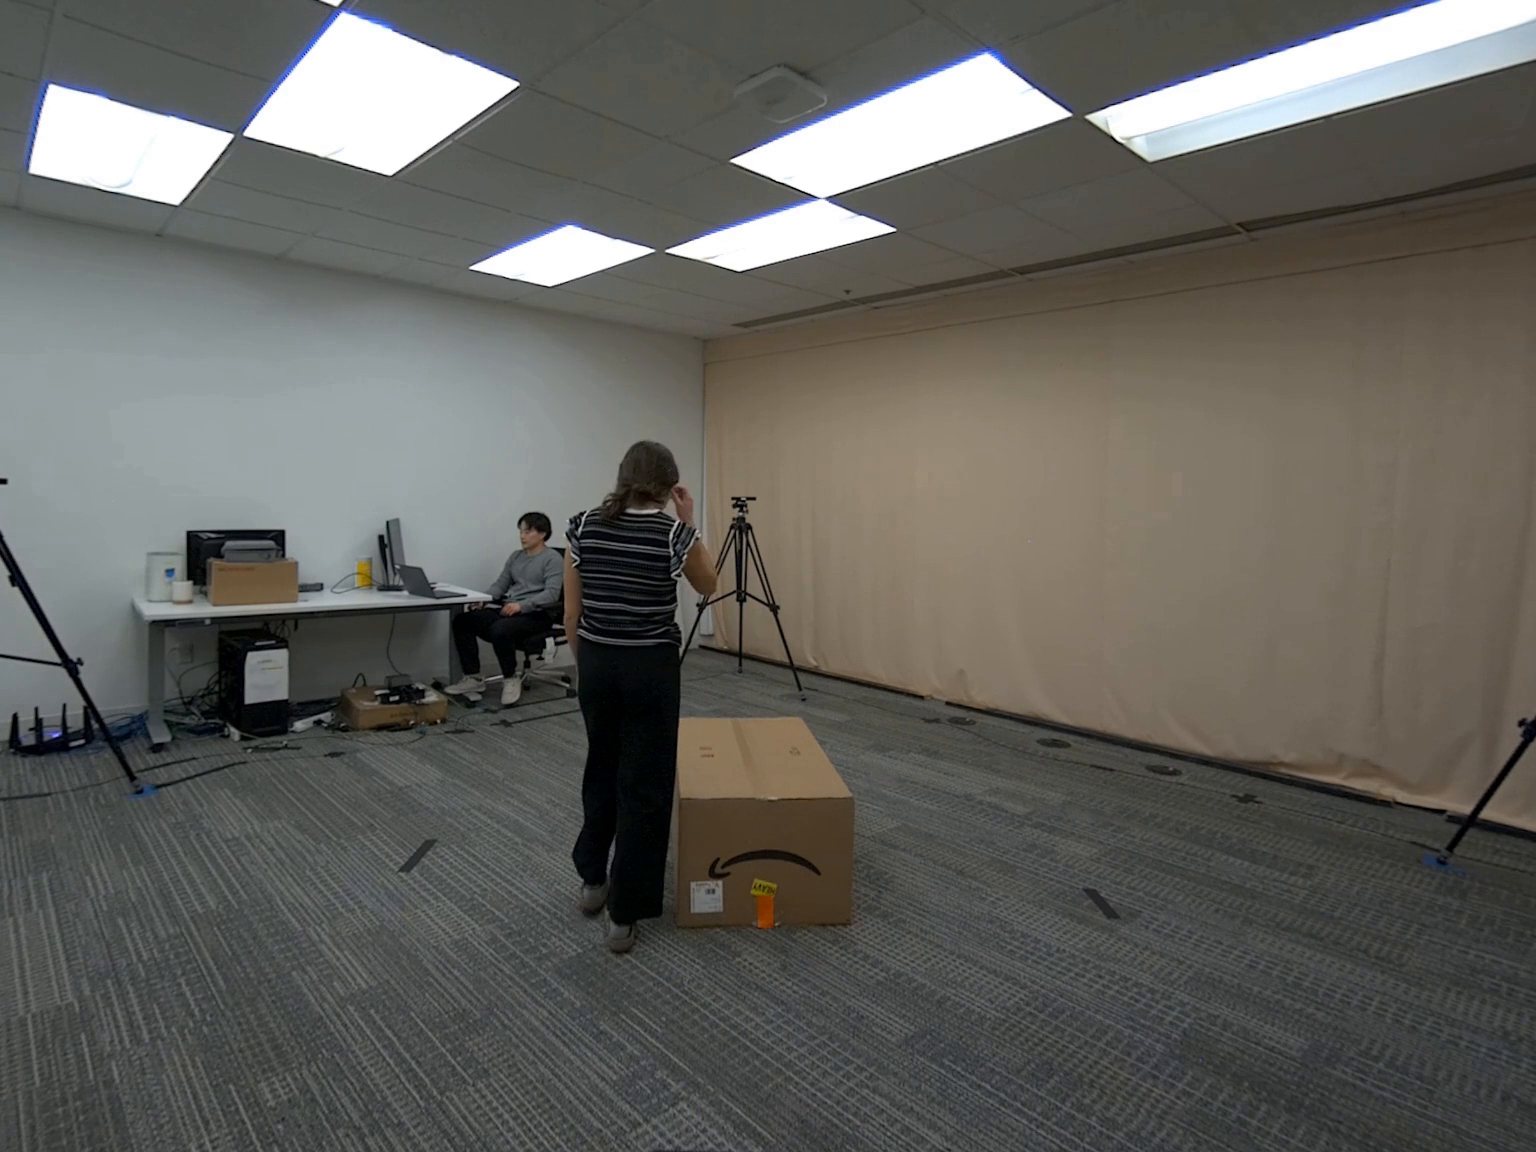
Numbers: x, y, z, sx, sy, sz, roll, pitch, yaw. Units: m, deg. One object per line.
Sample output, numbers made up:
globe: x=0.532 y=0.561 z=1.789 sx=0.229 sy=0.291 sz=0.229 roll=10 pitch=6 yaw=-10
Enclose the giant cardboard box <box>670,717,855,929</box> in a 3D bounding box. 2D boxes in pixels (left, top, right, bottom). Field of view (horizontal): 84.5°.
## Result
giant cardboard box: x=-0.075 y=0.886 z=3.234 sx=0.575 sy=0.425 sz=1.034 roll=0 pitch=5 yaw=-7
